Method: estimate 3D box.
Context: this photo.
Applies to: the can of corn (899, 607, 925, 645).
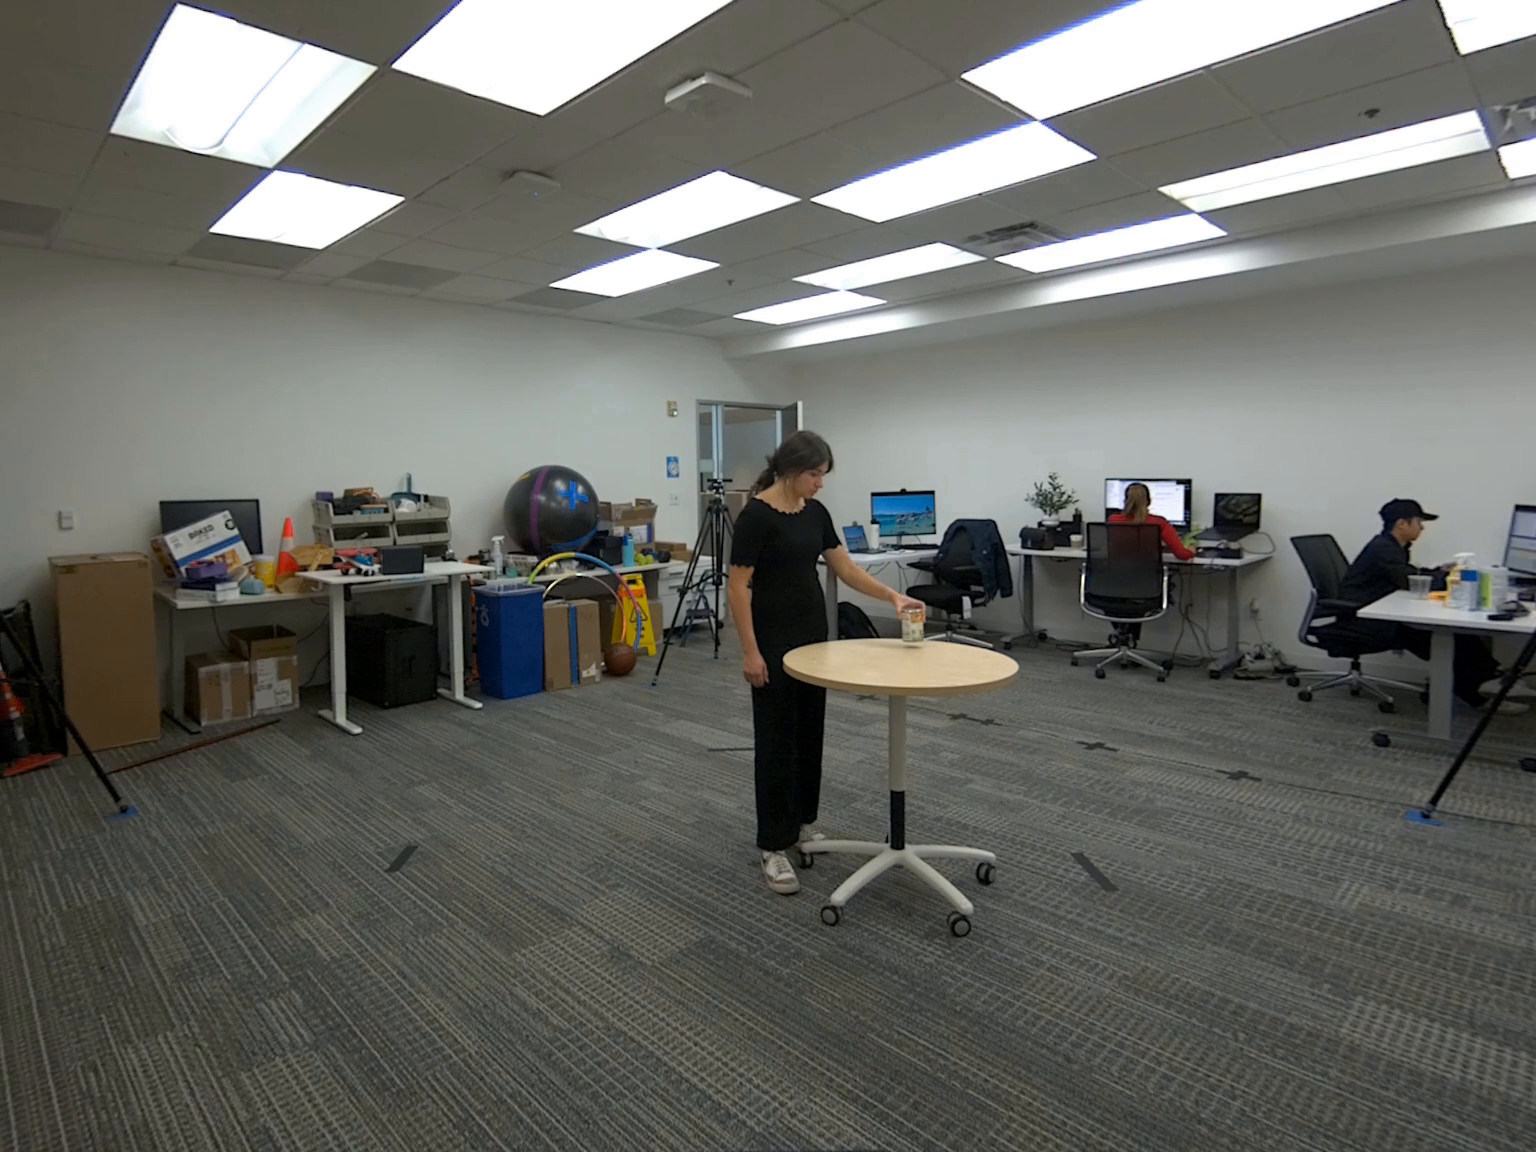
[{"bbox_3d":[0.507,0.177,3.063,0.074,0.111,0.074,-4,4,-1],"label":"can of corn"}]
